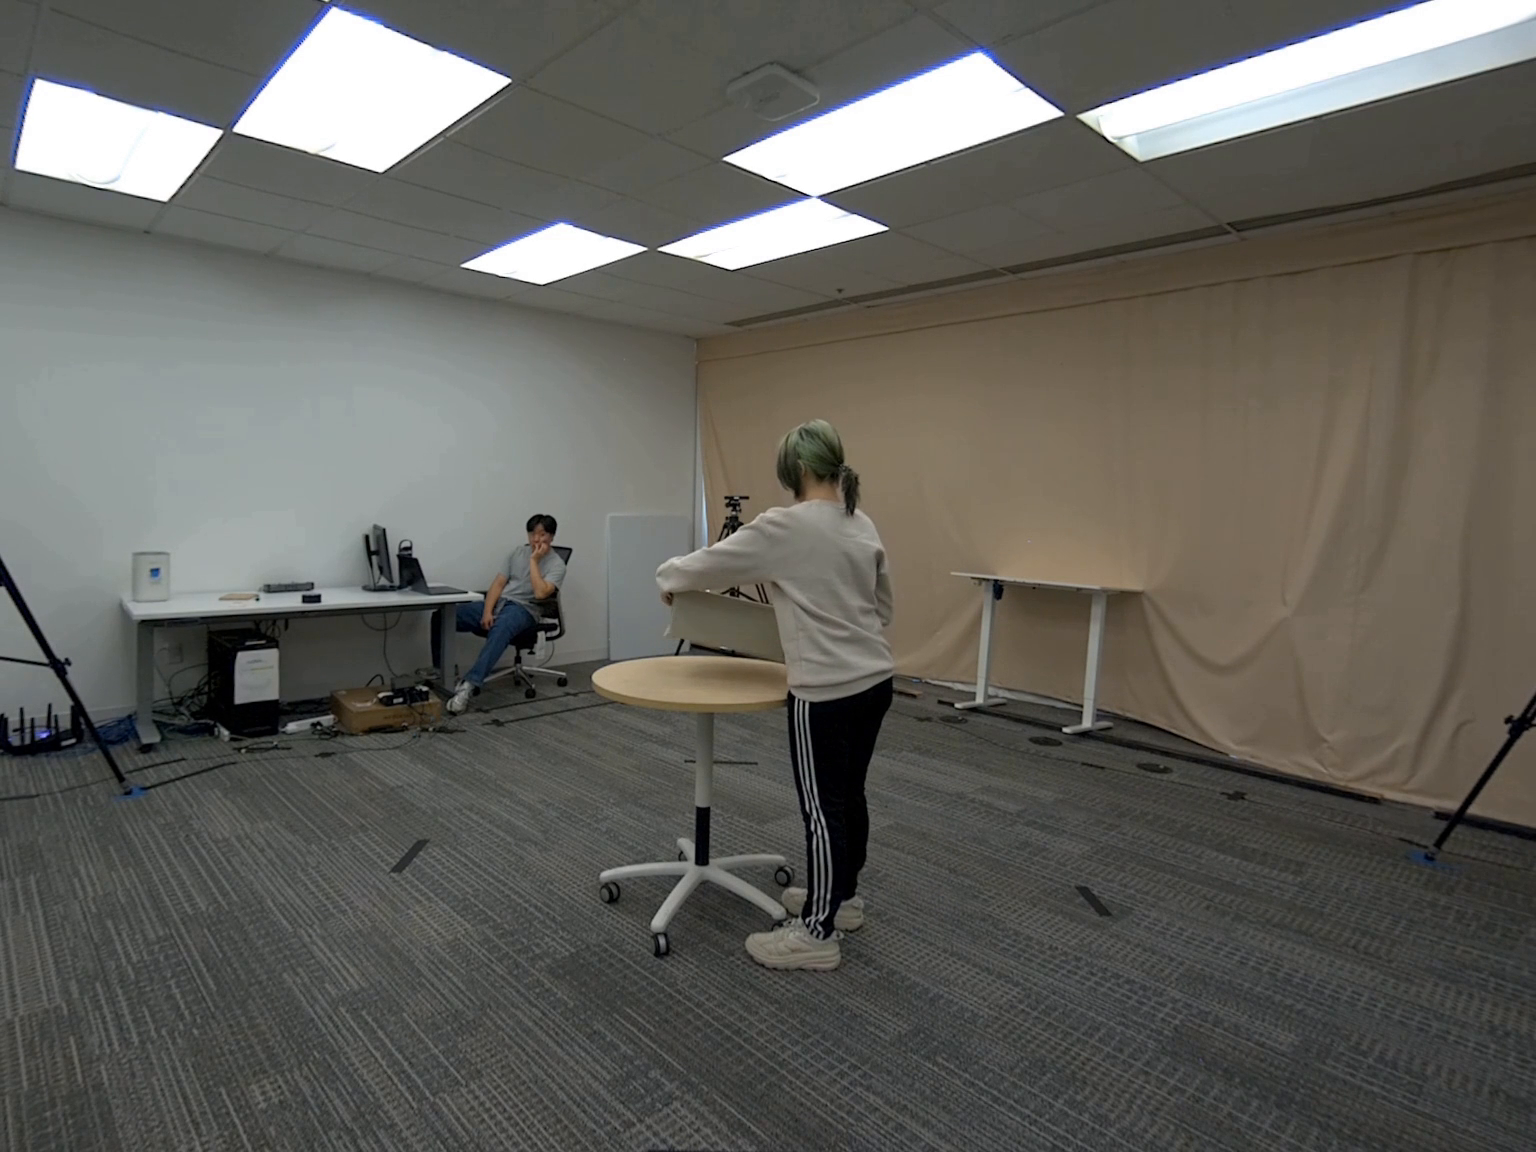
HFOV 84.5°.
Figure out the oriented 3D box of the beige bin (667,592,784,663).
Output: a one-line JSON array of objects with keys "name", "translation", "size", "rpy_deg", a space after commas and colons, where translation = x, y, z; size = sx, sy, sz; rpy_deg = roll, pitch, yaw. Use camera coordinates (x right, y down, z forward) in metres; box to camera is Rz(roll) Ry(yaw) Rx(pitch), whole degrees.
[{"name": "beige bin", "translation": [-0.119, 0.132, 2.915], "size": [0.423, 0.188, 0.378], "rpy_deg": [13, 8, 1]}]
